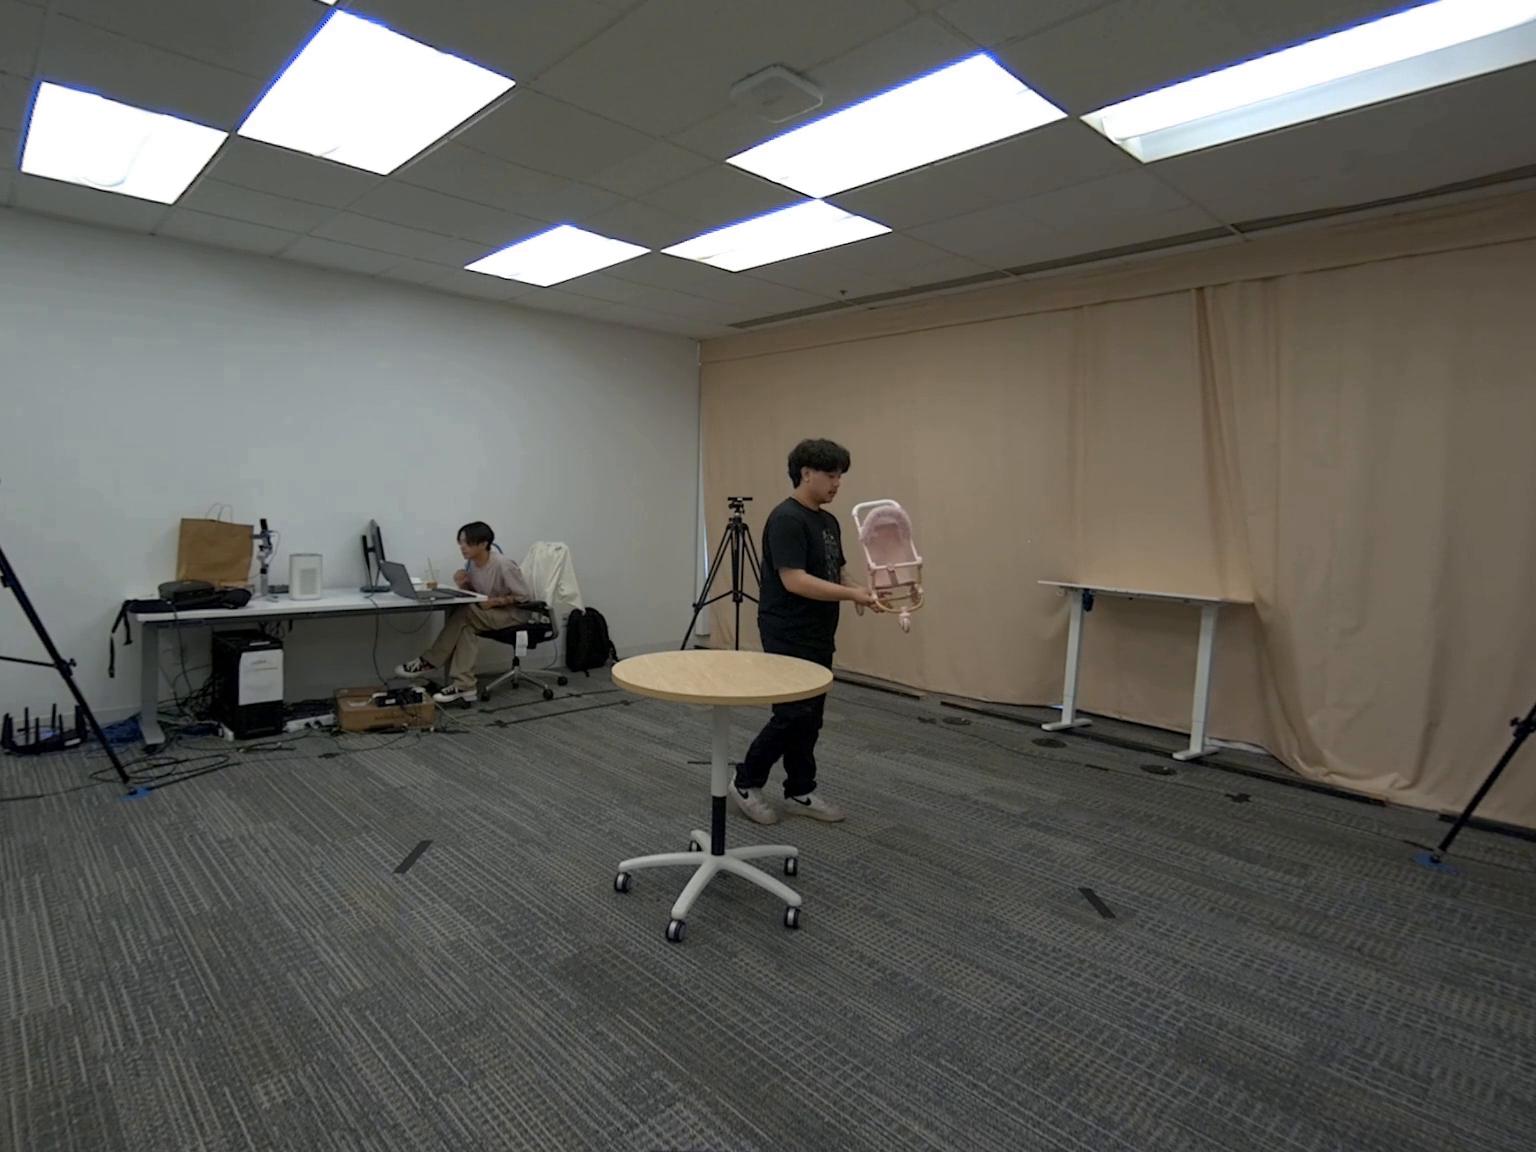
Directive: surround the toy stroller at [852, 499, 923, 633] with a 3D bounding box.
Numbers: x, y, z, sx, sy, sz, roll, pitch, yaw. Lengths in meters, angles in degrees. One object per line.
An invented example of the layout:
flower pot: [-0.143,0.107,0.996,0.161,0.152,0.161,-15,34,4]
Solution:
toy stroller: [0.486,-0.048,3.405,0.281,0.535,0.341,-6,0,0]
